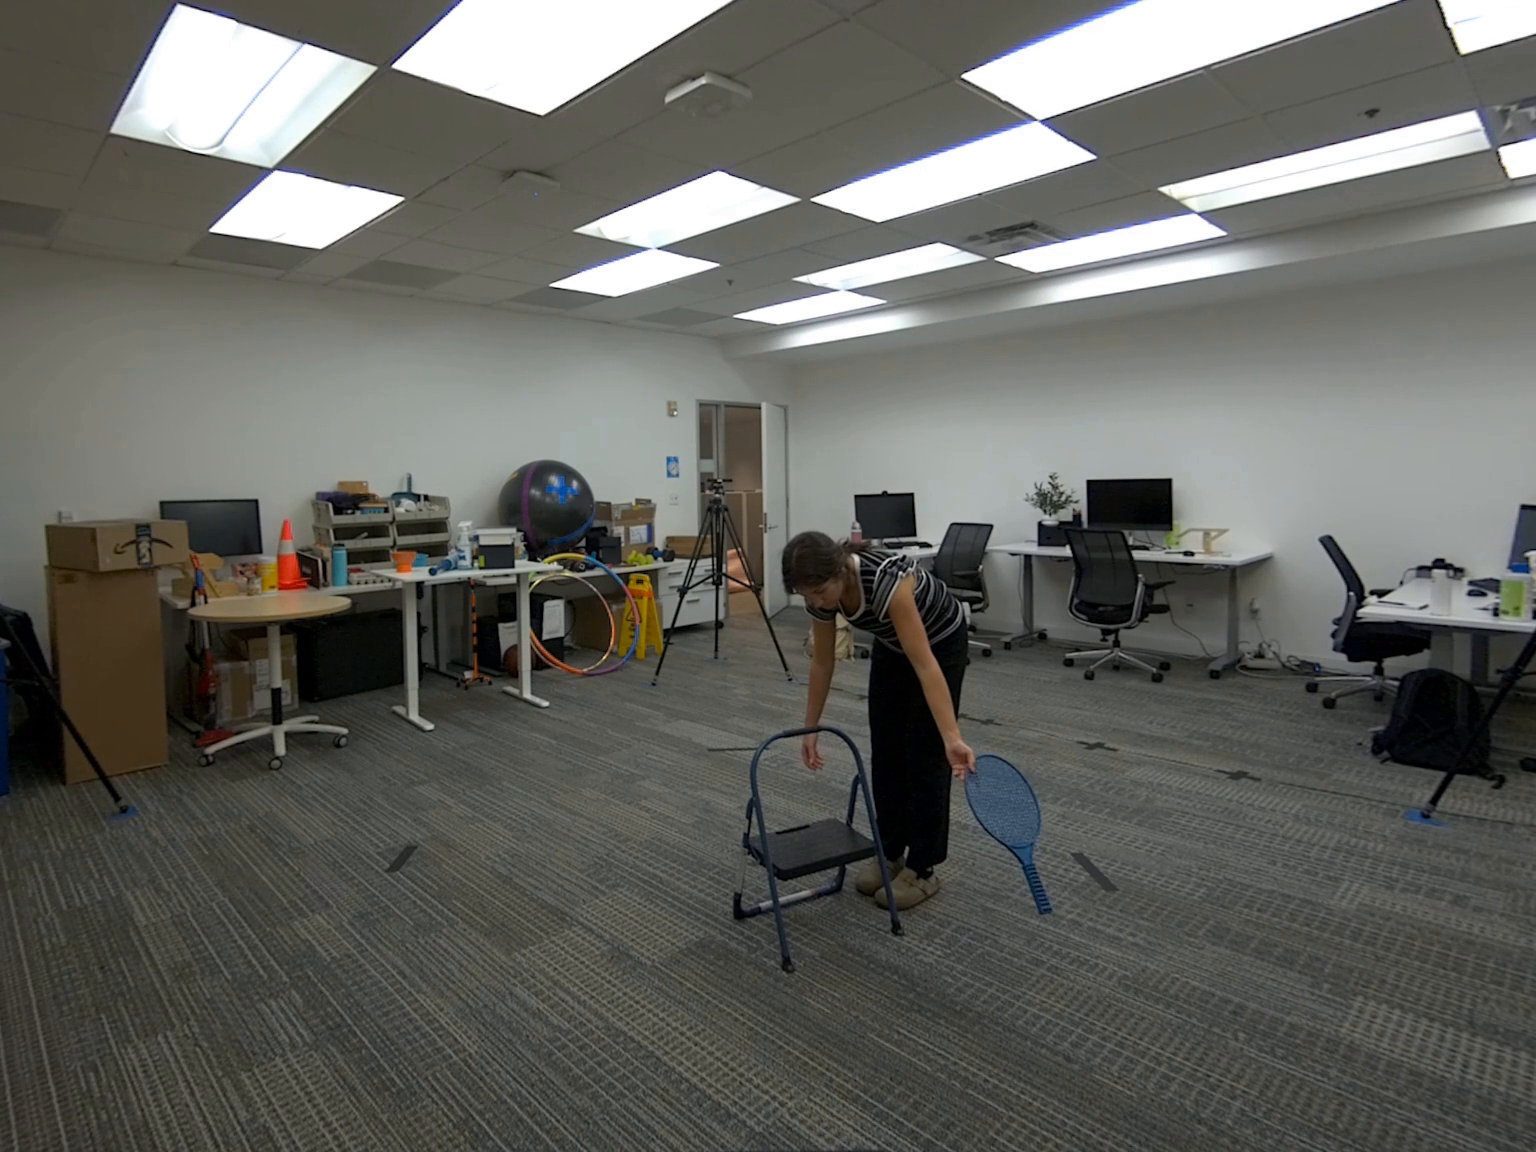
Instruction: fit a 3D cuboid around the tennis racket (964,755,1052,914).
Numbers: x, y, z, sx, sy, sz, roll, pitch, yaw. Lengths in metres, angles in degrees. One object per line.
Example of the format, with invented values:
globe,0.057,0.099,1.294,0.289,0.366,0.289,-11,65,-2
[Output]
tennis racket,0.662,0.693,2.301,0.210,0.446,0.031,3,-40,-15
